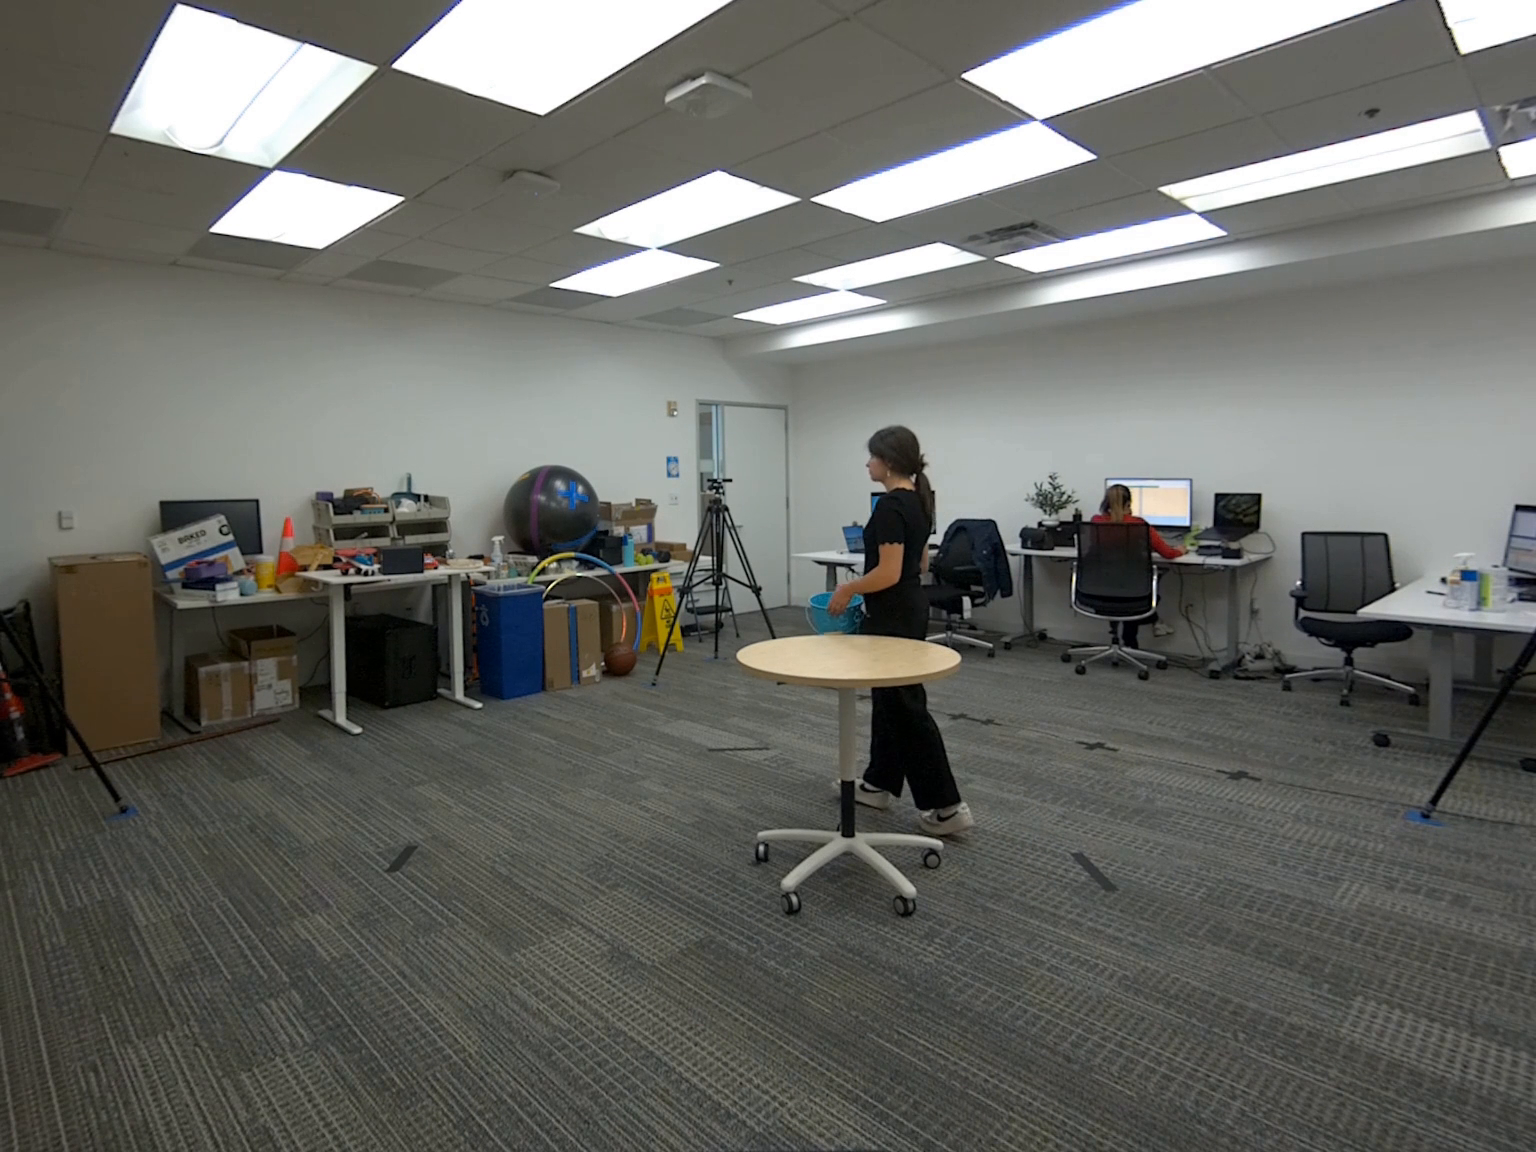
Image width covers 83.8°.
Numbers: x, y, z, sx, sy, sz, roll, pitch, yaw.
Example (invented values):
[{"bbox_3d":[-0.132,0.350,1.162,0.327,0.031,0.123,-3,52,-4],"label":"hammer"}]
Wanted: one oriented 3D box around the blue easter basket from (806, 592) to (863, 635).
[{"bbox_3d":[0.300,0.176,3.623,0.243,0.154,0.246,-2,12,-1],"label":"blue easter basket"}]
